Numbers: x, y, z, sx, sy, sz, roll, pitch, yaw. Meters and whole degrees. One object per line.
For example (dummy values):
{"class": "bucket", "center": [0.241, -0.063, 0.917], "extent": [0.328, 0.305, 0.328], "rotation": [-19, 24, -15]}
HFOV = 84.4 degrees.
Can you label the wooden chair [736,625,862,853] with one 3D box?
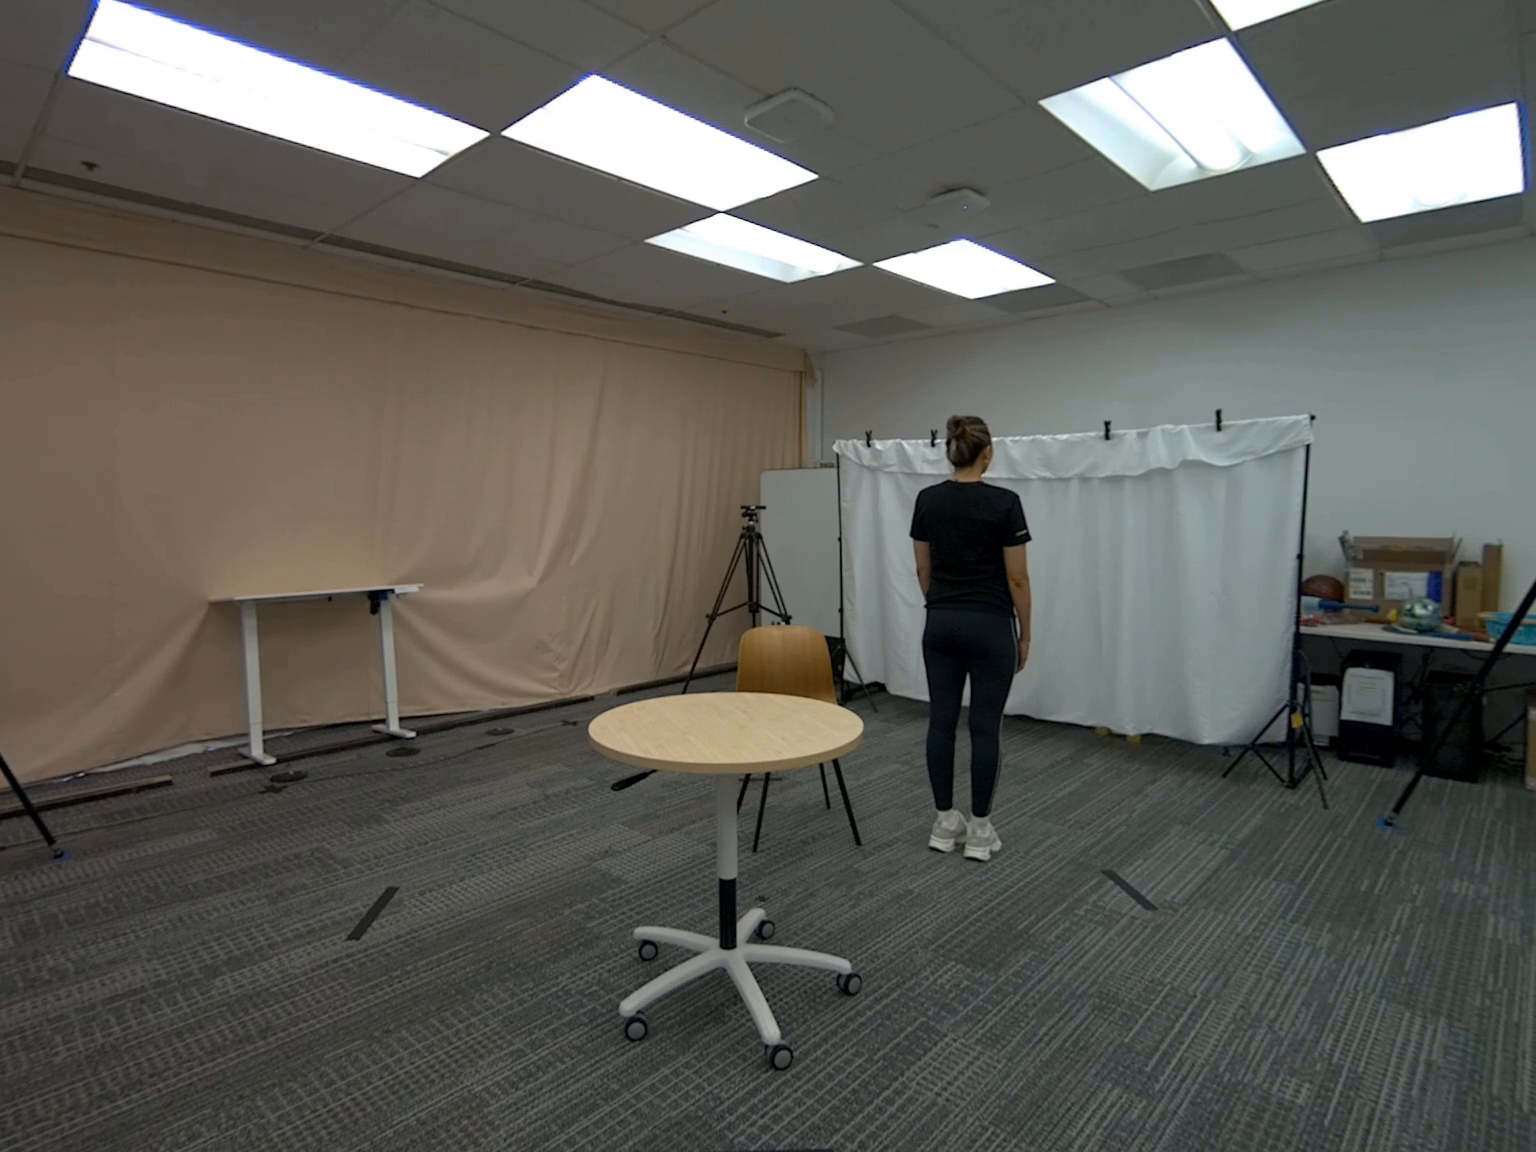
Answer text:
{"class": "wooden chair", "center": [0.117, 0.668, 3.600], "extent": [0.473, 0.878, 0.528], "rotation": [-1, -1, -10]}
